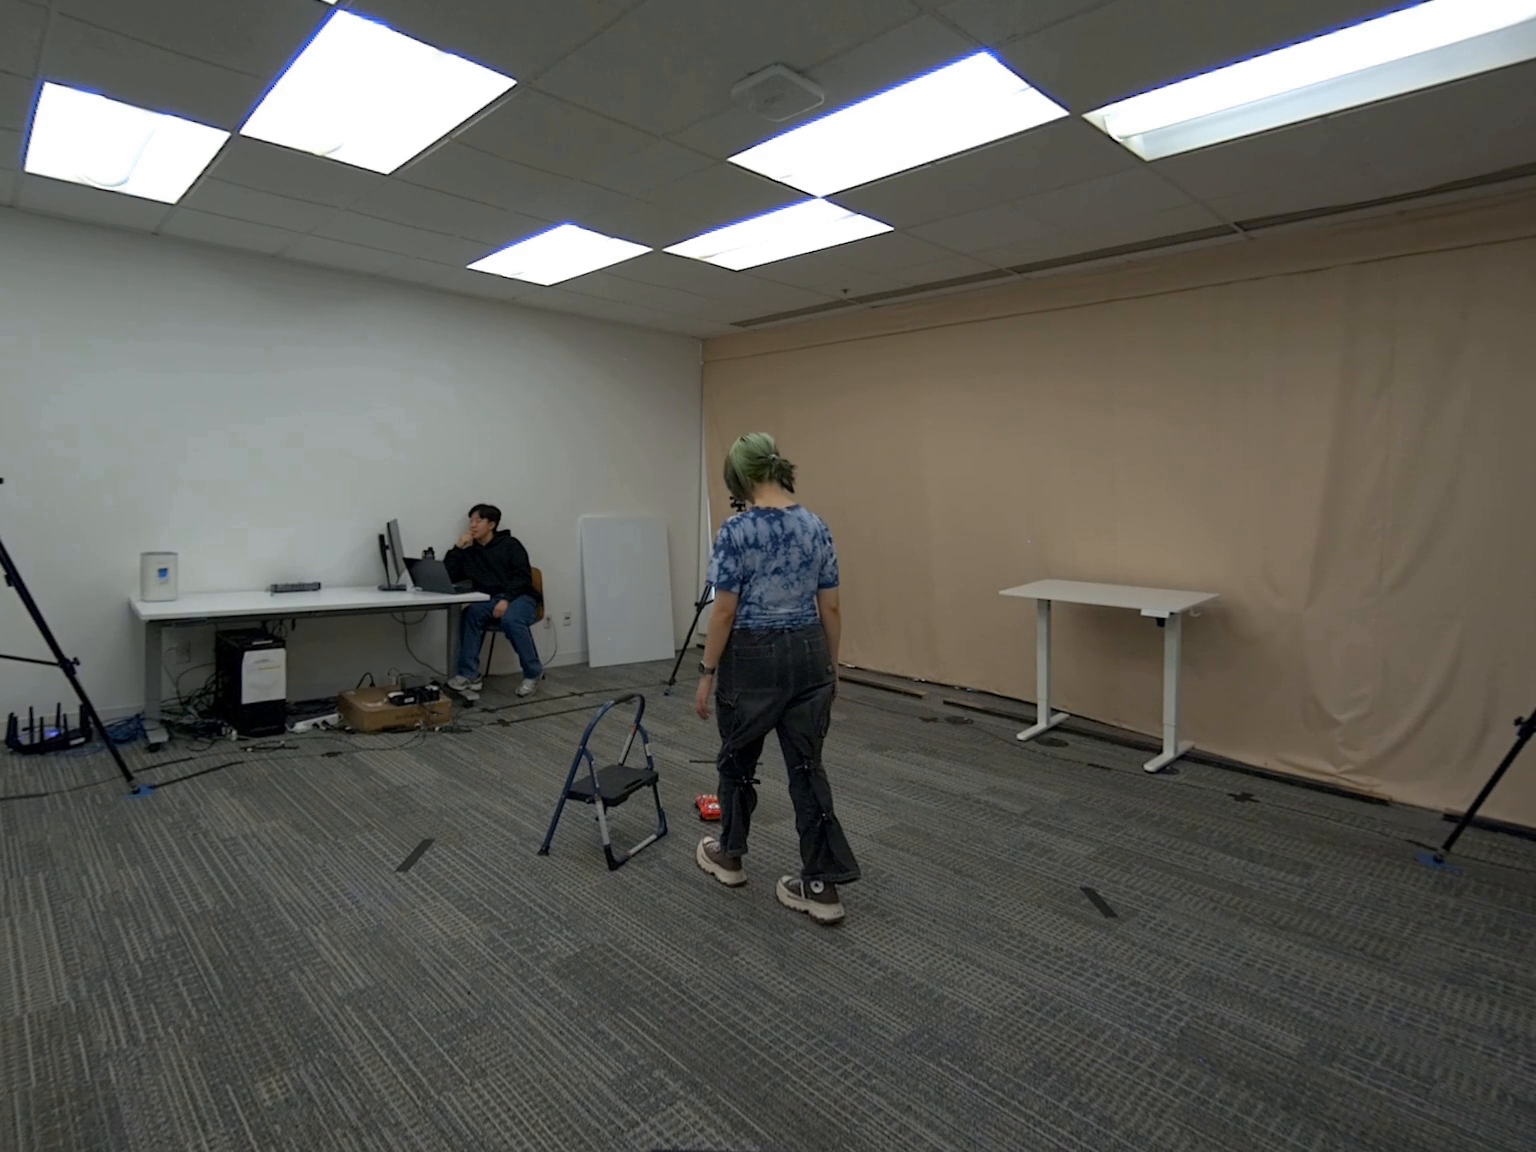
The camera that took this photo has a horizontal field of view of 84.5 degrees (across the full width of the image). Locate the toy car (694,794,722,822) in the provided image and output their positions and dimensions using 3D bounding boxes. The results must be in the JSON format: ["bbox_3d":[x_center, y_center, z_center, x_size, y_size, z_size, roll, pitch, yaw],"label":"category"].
[{"bbox_3d":[-0.259,1.019,3.702,0.129,0.083,0.255,0,-5,-12],"label":"toy car"}]
